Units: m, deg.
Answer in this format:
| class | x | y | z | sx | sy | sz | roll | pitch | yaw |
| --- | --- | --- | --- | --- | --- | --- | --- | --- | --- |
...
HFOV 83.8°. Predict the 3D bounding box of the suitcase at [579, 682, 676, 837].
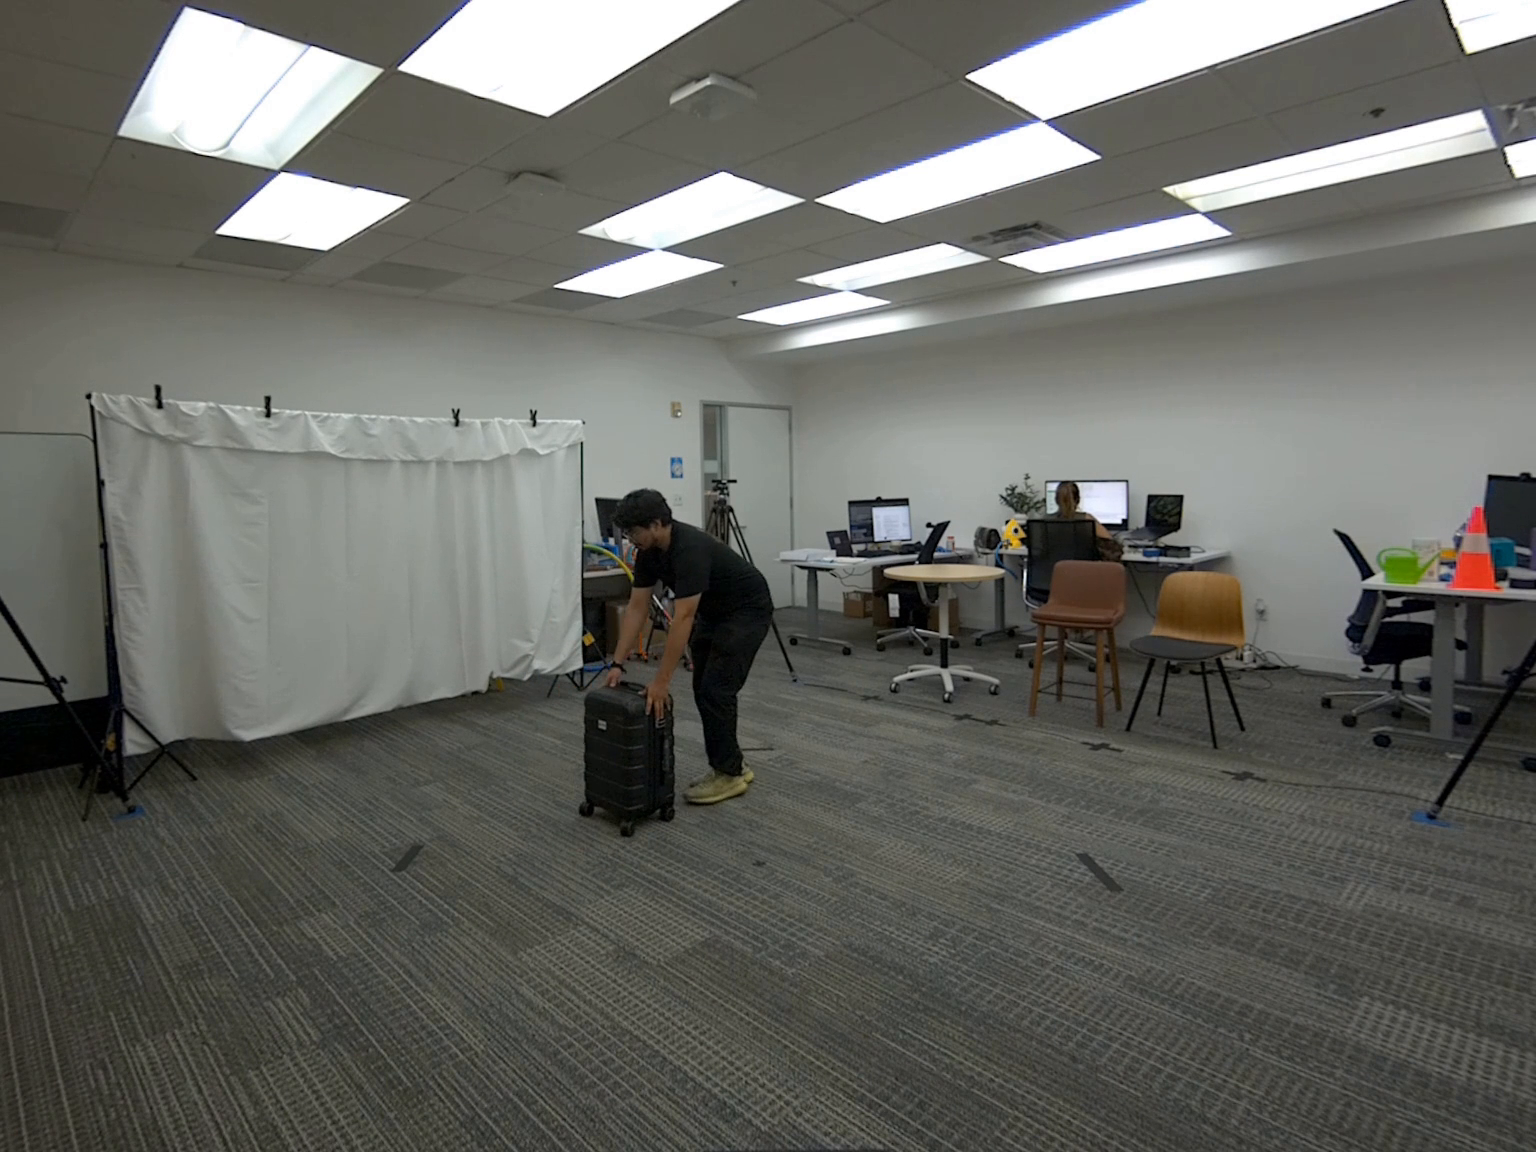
| class | x | y | z | sx | sy | sz | roll | pitch | yaw |
| --- | --- | --- | --- | --- | --- | --- | --- | --- | --- |
| suitcase | -0.581 | 0.734 | 3.564 | 0.241 | 0.549 | 0.386 | -1 | 2 | -45 |
